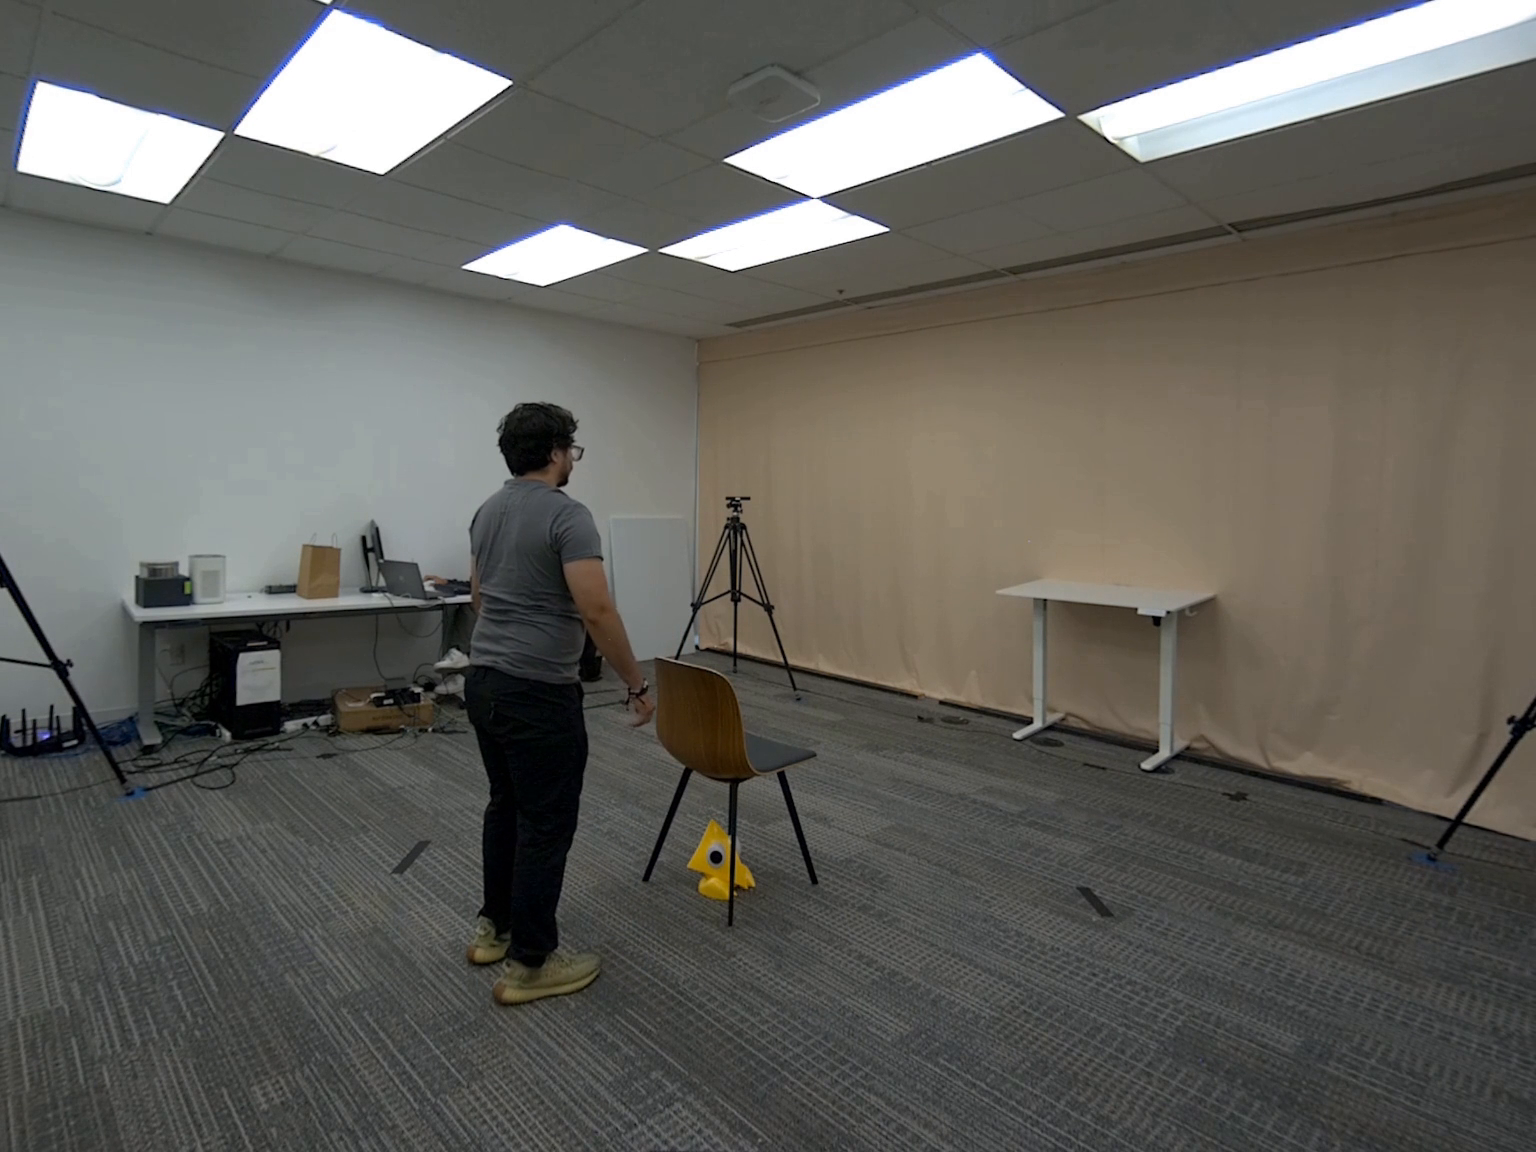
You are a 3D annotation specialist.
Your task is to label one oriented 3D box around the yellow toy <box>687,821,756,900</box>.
[{"bbox_3d":[-0.165,1.000,3.014,0.198,0.230,0.200,3,5,36],"label":"yellow toy"}]
